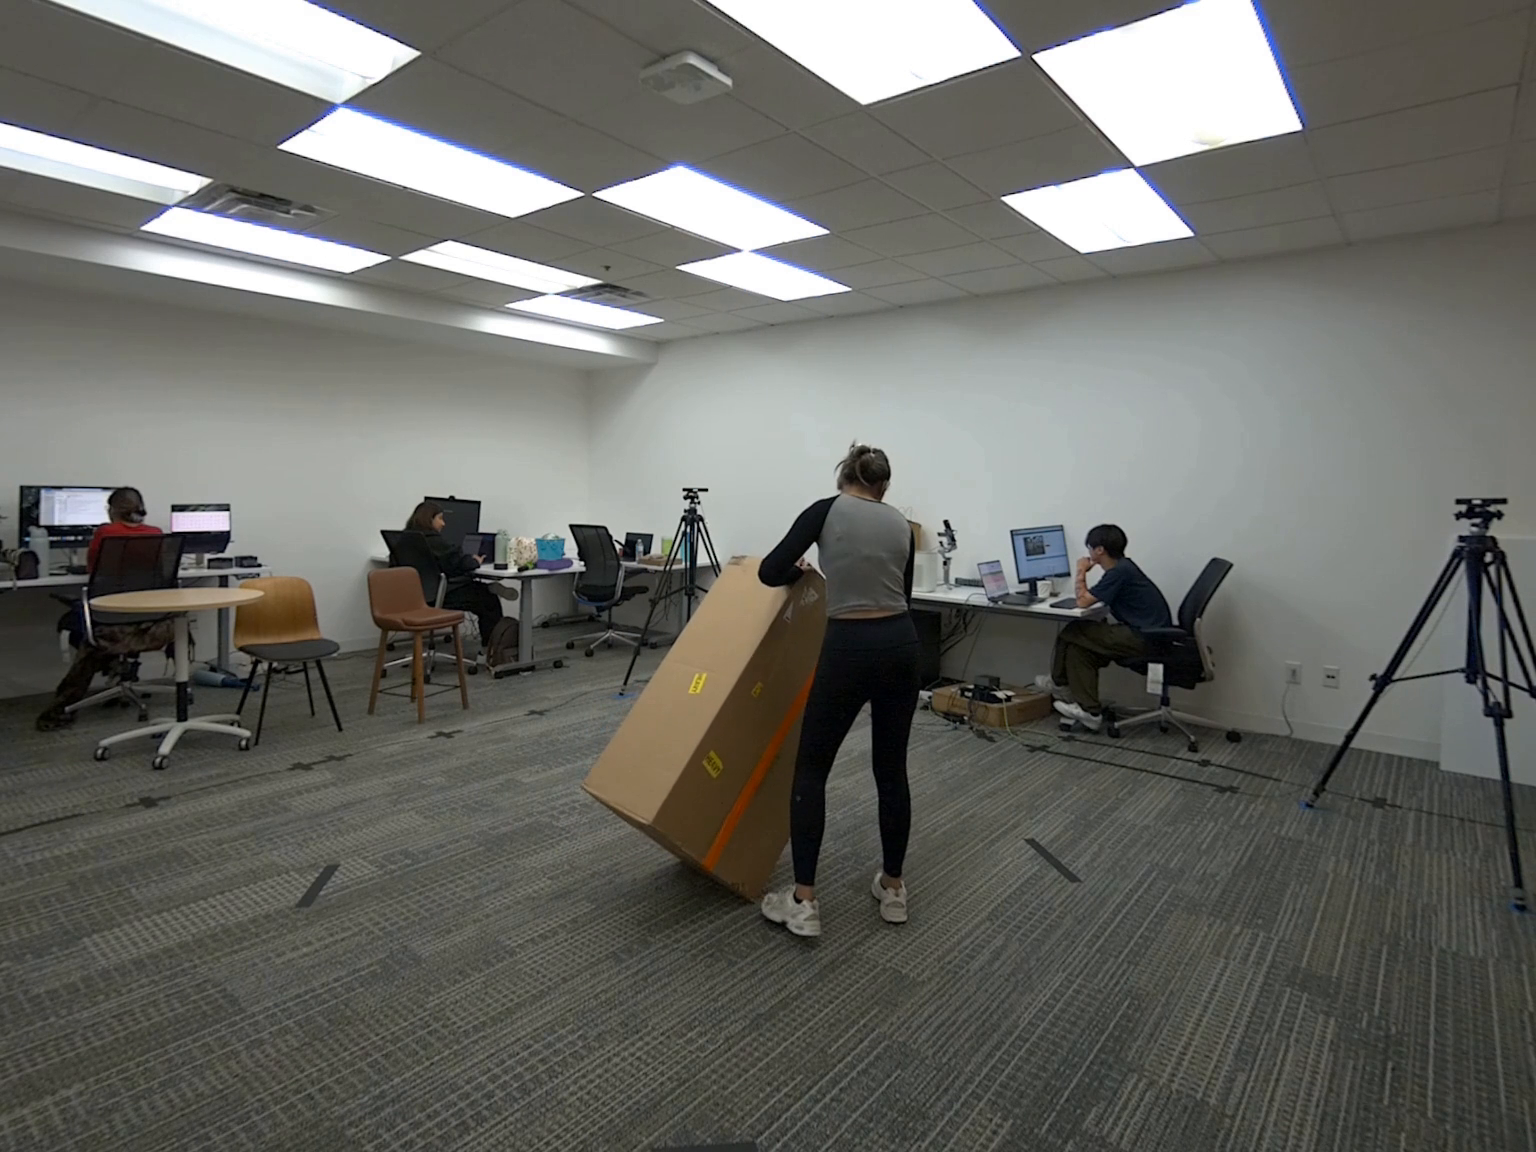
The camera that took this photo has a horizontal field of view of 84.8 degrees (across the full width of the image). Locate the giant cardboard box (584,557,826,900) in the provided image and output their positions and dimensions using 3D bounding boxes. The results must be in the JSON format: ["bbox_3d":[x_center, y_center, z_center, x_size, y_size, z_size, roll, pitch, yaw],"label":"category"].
[{"bbox_3d":[-0.099,0.512,3.064,0.462,1.032,0.562,5,-35,48],"label":"giant cardboard box"}]
